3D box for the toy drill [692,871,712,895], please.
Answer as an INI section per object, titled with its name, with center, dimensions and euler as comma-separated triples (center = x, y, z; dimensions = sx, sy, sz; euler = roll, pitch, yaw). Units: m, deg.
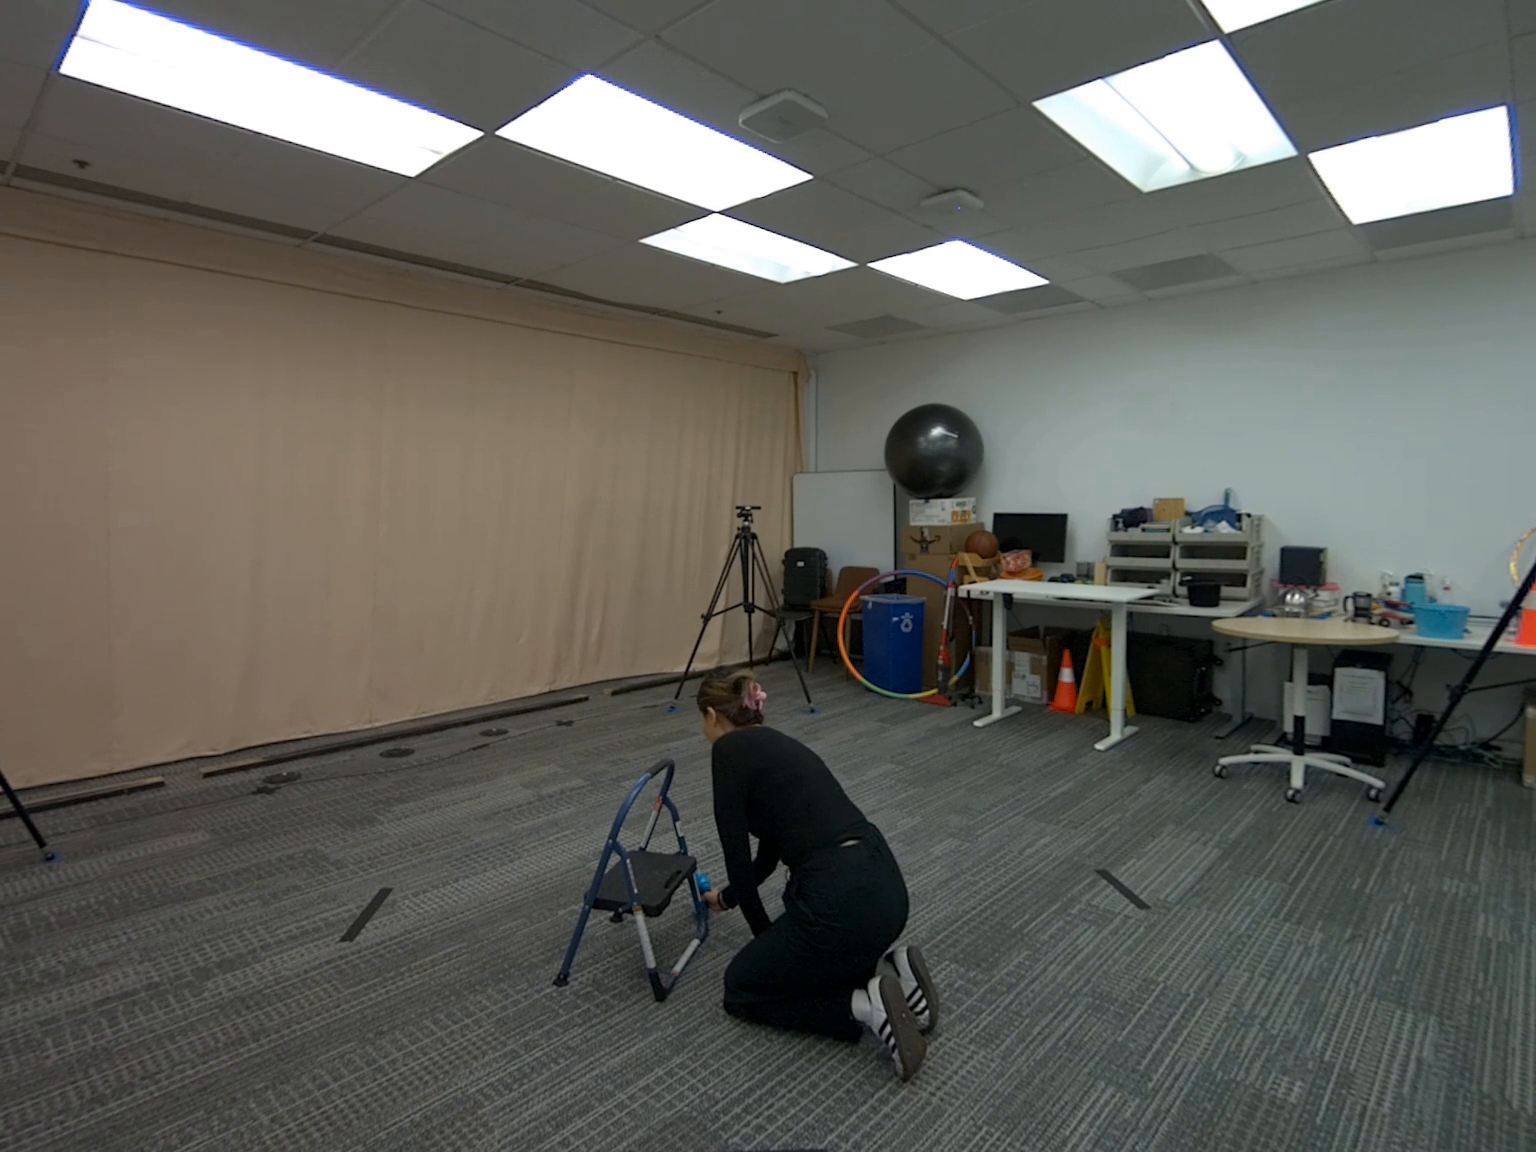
[toy drill]
center = -0.234, 1.076, 2.889
dimensions = 0.059, 0.146, 0.174
euler = 1, 3, -26
